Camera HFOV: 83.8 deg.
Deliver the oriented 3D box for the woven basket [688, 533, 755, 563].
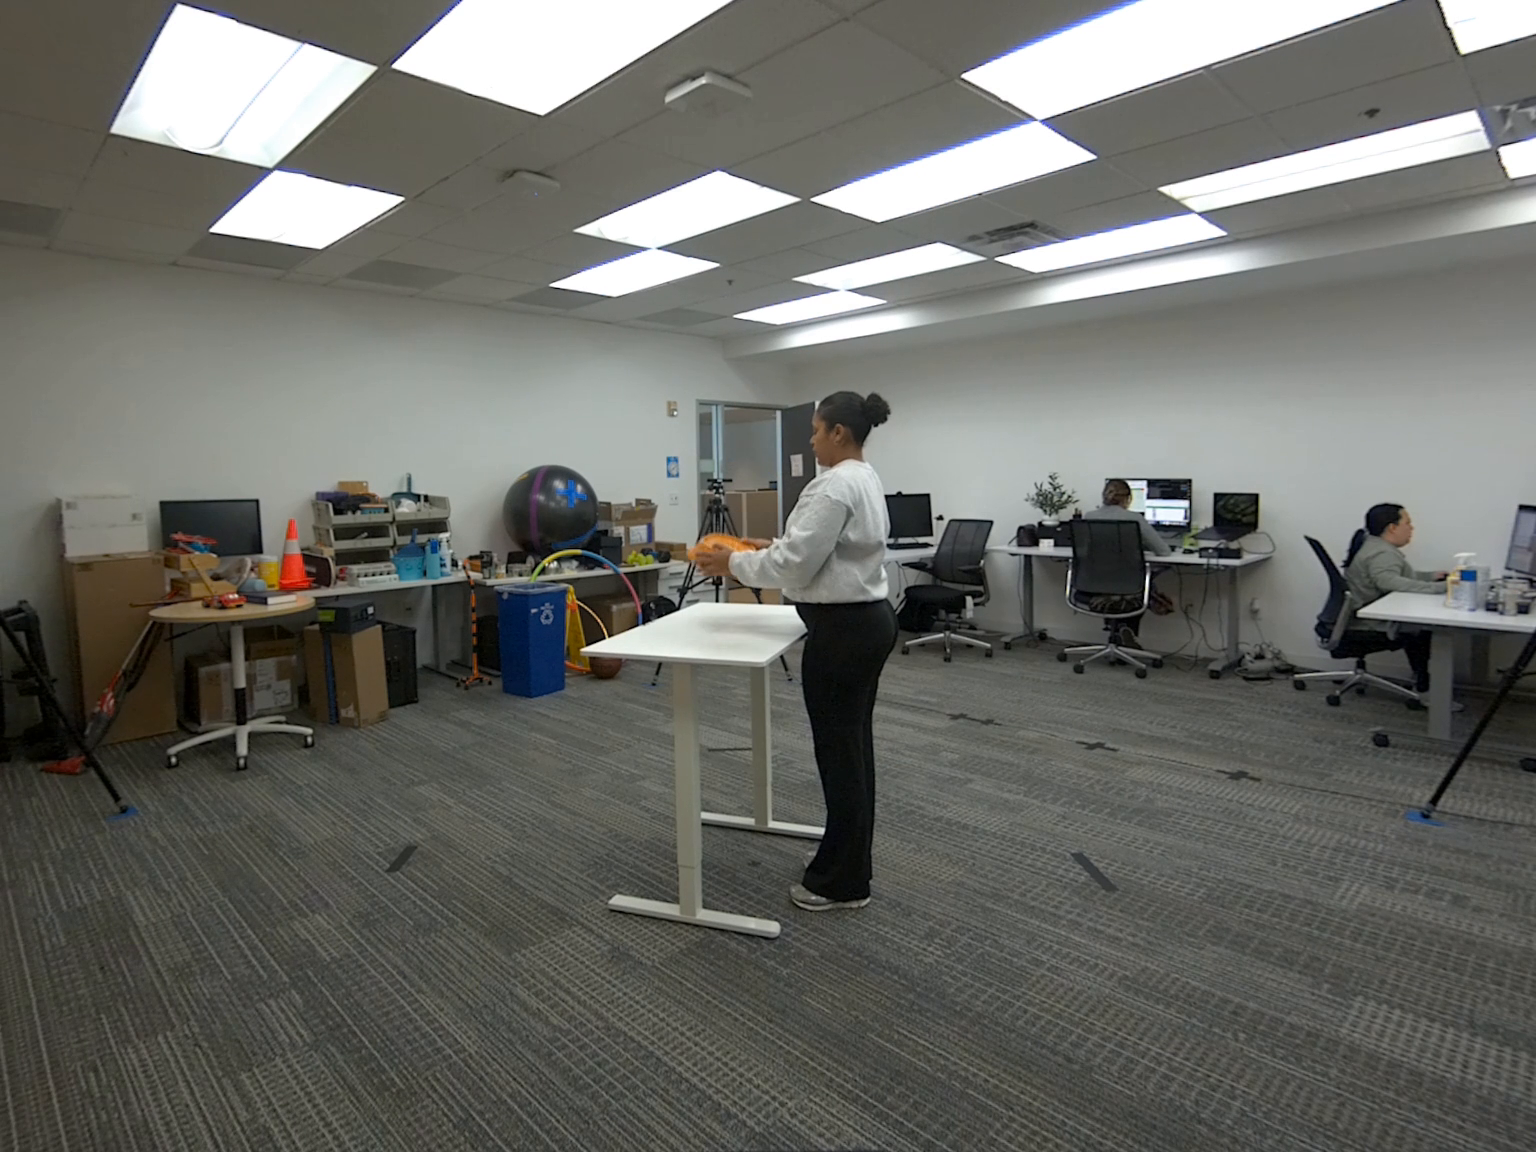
[{"bbox_3d":[-0.116,-0.096,3.002,0.257,0.073,0.347,21,13,12],"label":"woven basket"}]
